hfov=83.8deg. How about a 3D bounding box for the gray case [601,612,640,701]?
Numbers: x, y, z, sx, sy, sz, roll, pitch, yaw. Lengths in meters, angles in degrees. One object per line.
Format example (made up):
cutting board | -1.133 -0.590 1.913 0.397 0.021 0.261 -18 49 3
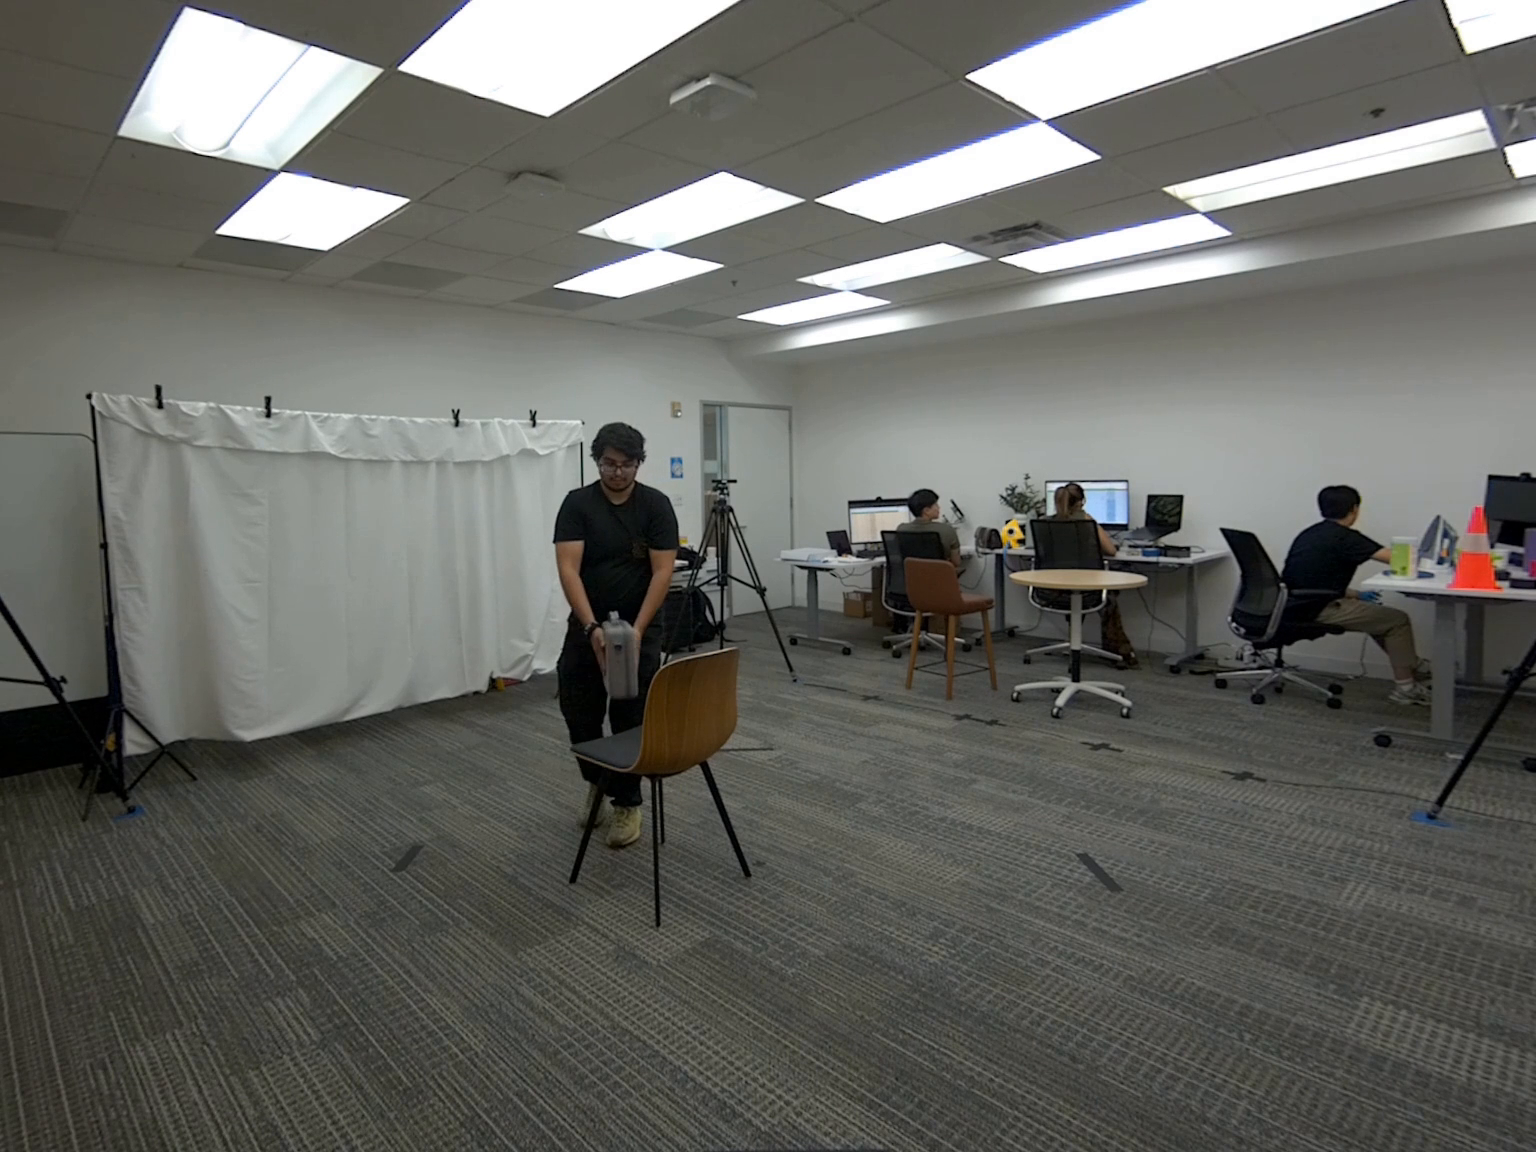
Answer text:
gray case | -0.540 0.299 3.081 0.103 0.260 0.260 0 4 -10
